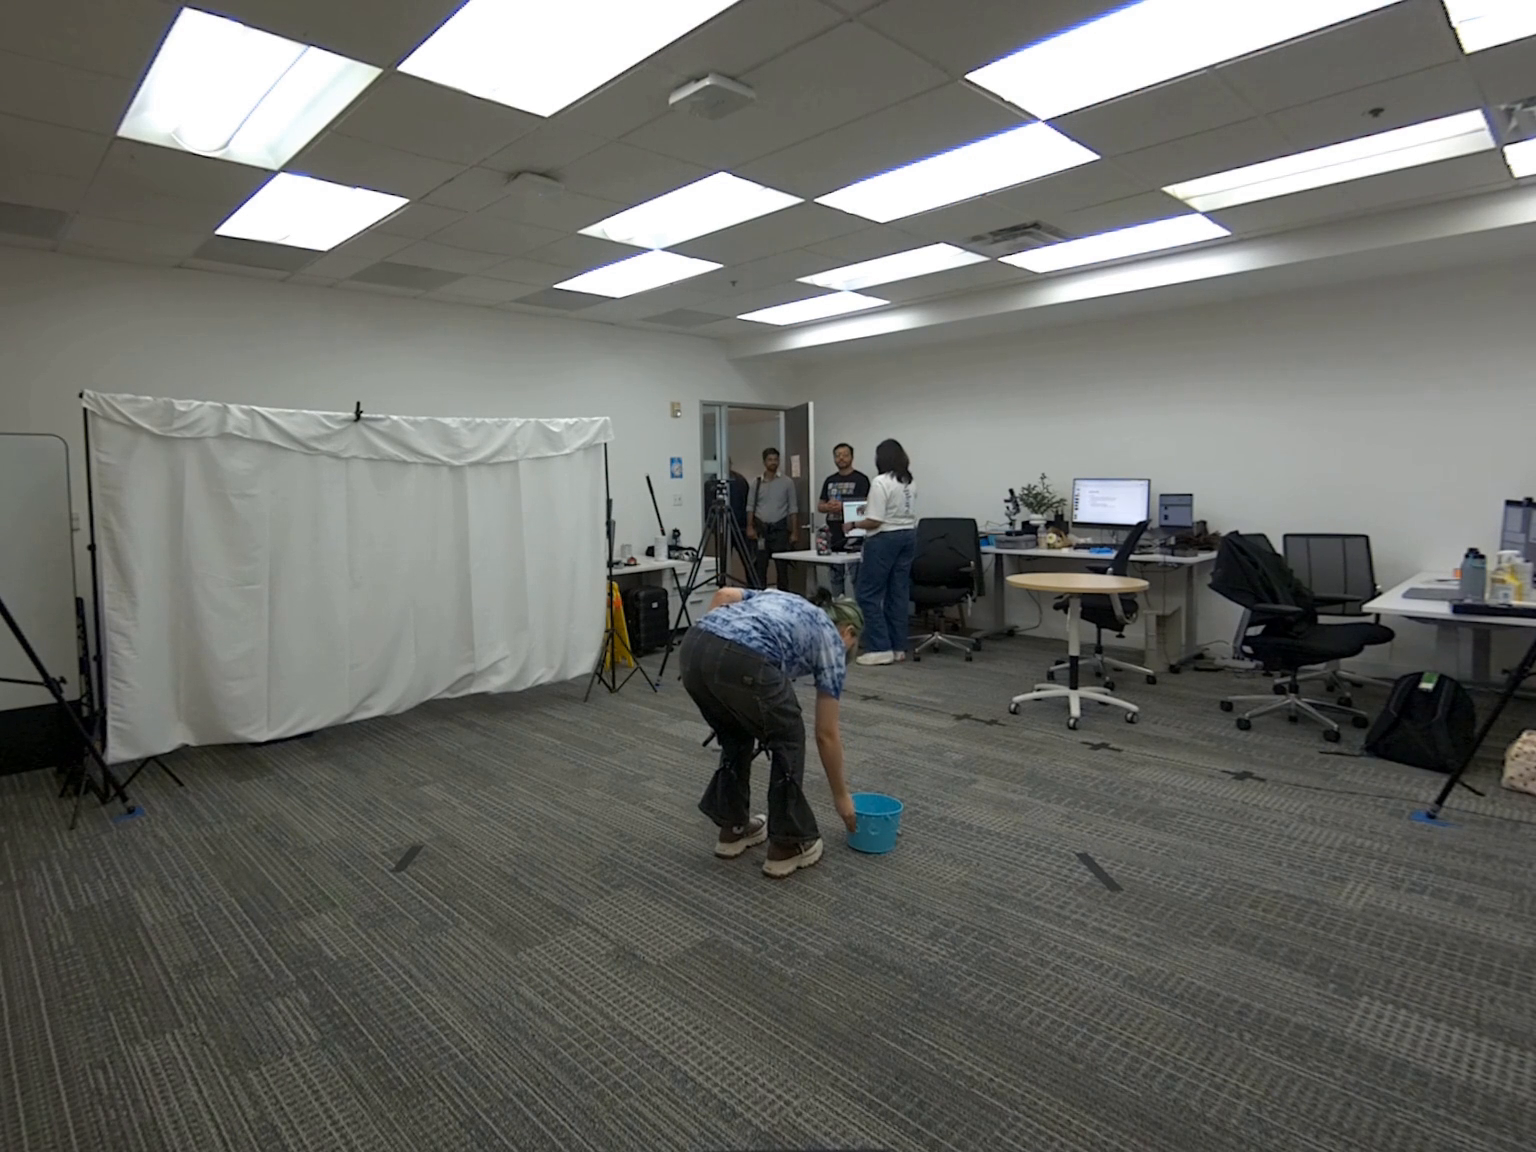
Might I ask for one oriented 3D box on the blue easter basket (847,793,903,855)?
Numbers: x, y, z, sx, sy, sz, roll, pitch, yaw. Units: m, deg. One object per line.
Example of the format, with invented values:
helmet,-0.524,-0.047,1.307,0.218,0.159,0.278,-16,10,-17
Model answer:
blue easter basket,0.403,0.939,3.254,0.243,0.155,0.245,2,5,-2
